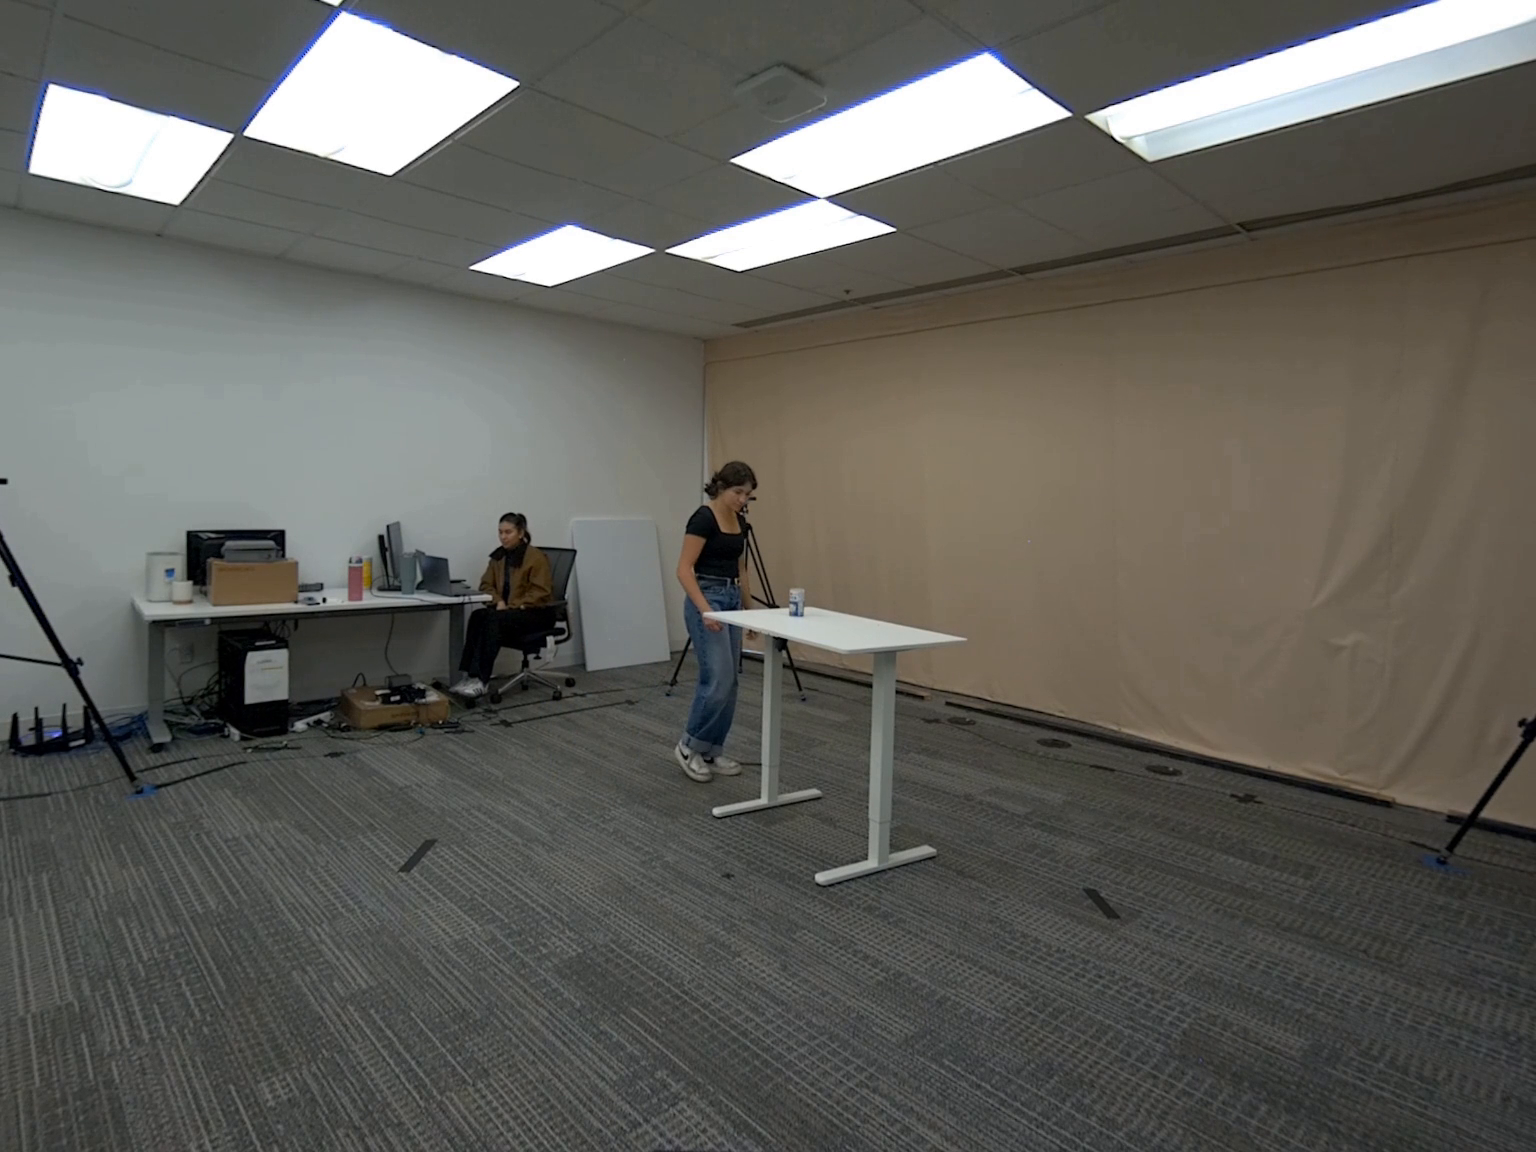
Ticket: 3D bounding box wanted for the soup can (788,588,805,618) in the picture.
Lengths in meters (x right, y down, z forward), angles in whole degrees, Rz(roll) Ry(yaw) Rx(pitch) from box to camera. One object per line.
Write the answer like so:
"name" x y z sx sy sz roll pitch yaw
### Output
"soup can" 0.123 0.119 3.722 0.067 0.121 0.067 5 8 -2
